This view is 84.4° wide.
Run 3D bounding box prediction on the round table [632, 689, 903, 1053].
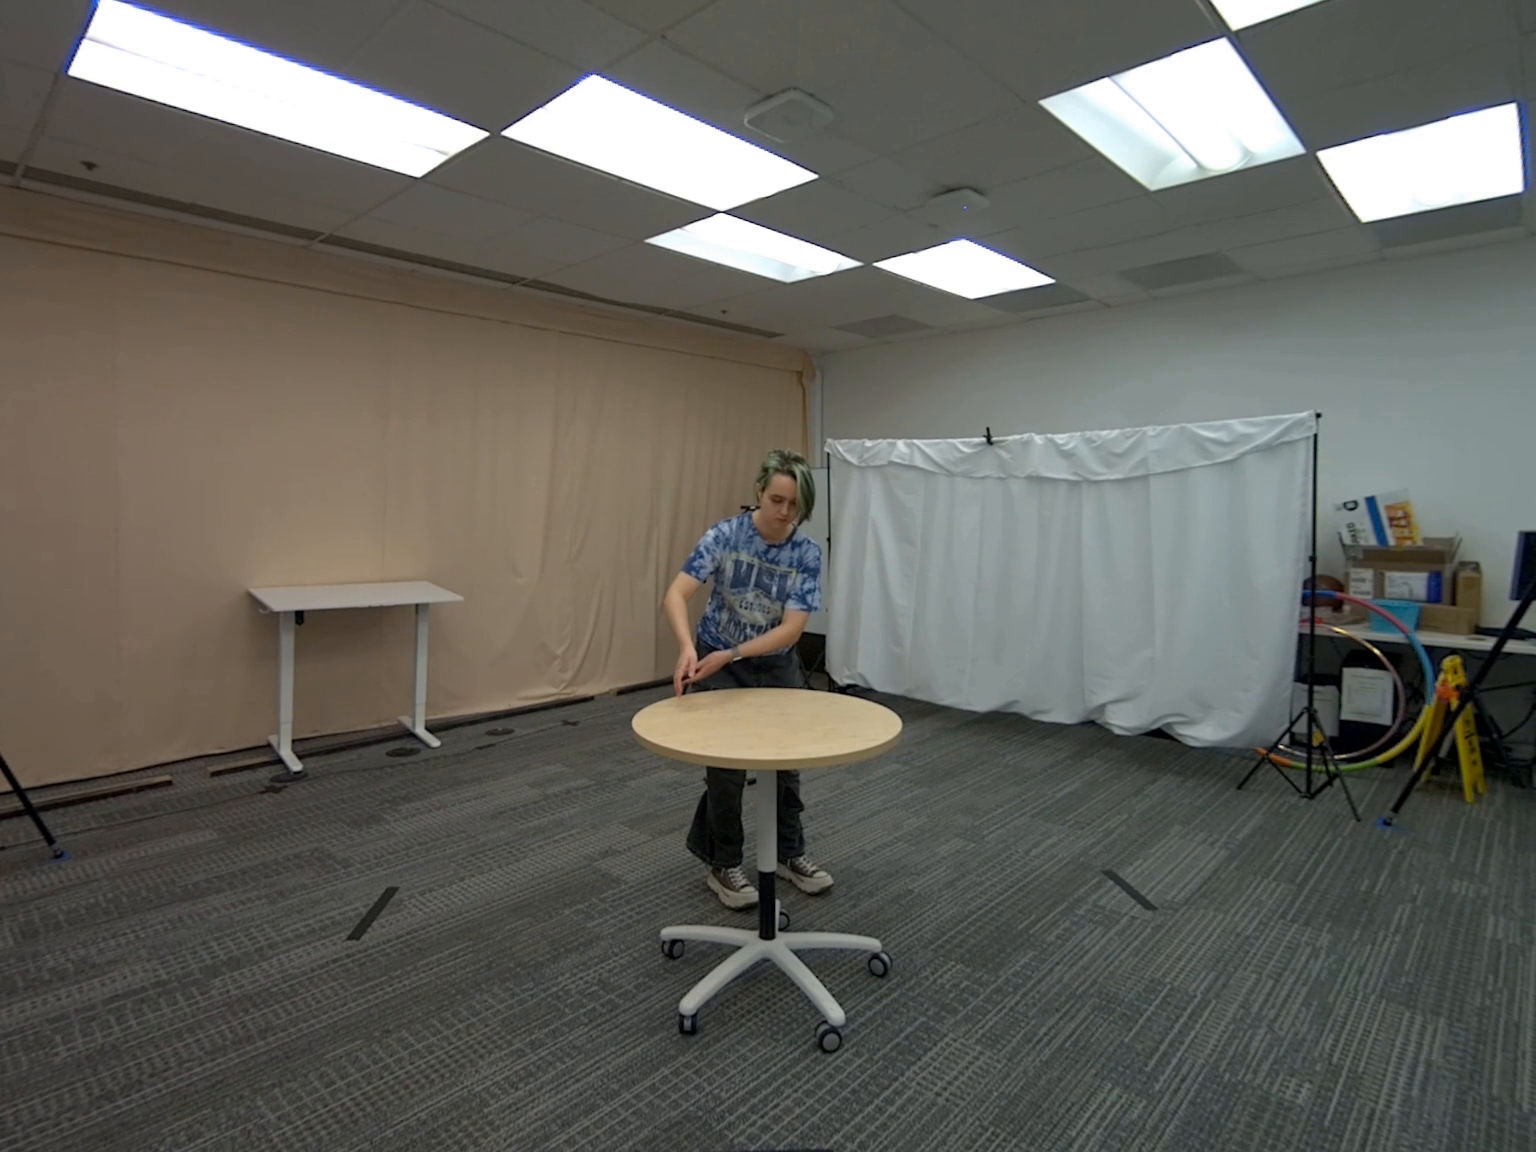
[{"bbox_3d":[-0.001,0.801,2.432,0.763,0.792,0.767,-1,4,-2],"label":"round table"}]
